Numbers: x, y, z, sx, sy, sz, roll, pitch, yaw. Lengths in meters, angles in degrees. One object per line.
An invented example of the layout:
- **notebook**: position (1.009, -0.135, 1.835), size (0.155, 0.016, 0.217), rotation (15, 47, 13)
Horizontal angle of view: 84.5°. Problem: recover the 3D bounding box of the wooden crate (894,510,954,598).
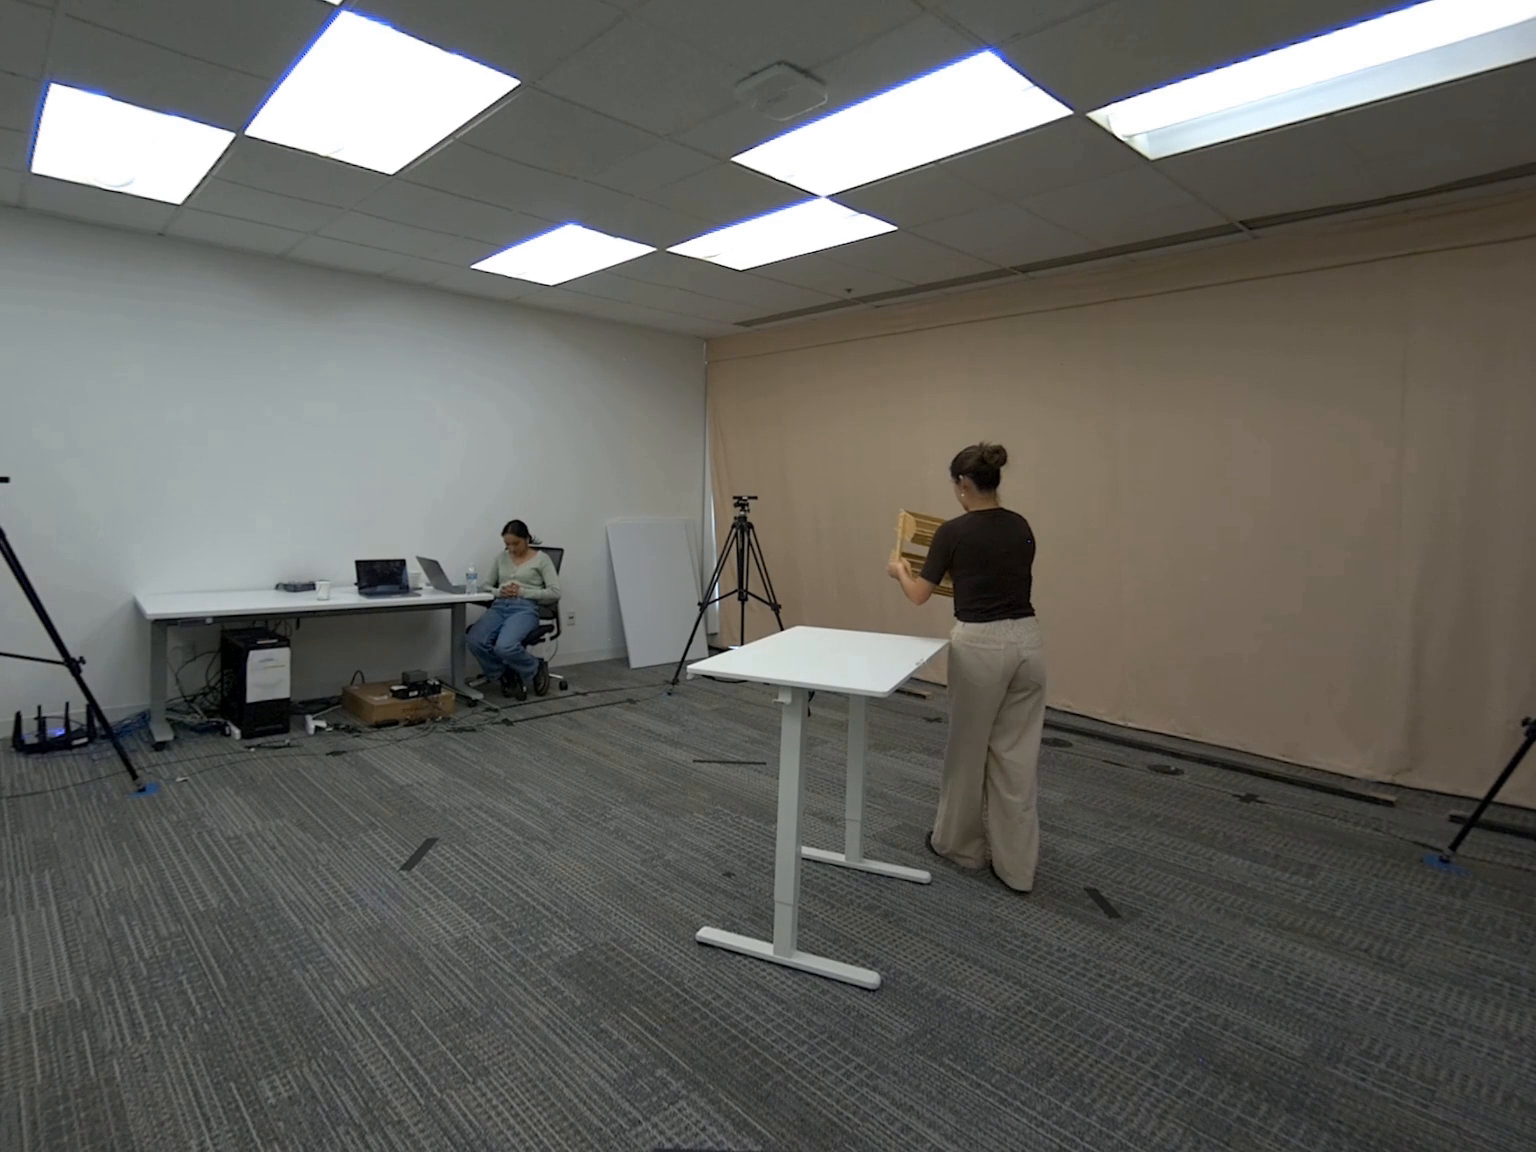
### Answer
- **wooden crate**: position (0.698, -0.093, 3.502), size (0.320, 0.271, 0.308), rotation (12, 15, -15)
